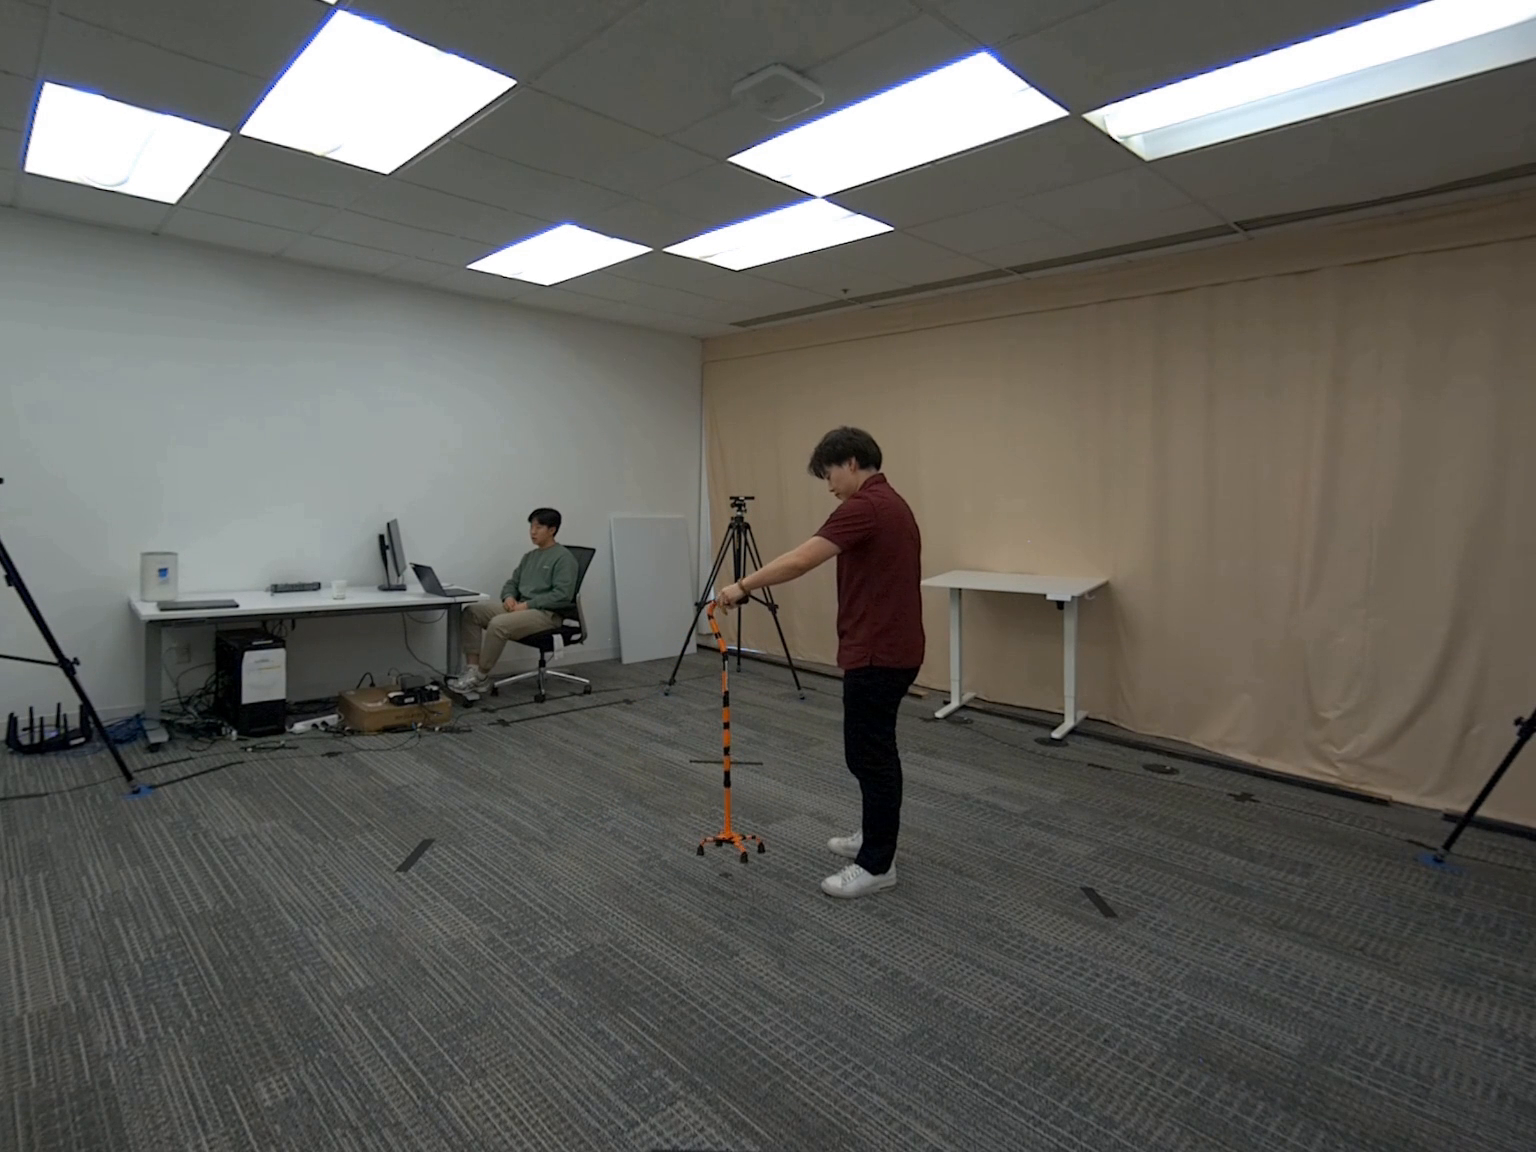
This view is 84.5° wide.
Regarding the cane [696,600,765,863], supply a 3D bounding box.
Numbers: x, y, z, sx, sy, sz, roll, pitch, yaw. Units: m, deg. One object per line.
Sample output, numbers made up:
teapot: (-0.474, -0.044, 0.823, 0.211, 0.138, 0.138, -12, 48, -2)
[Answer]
cane: (-0.145, 0.529, 2.985, 0.211, 0.909, 0.148, -4, -3, 42)
